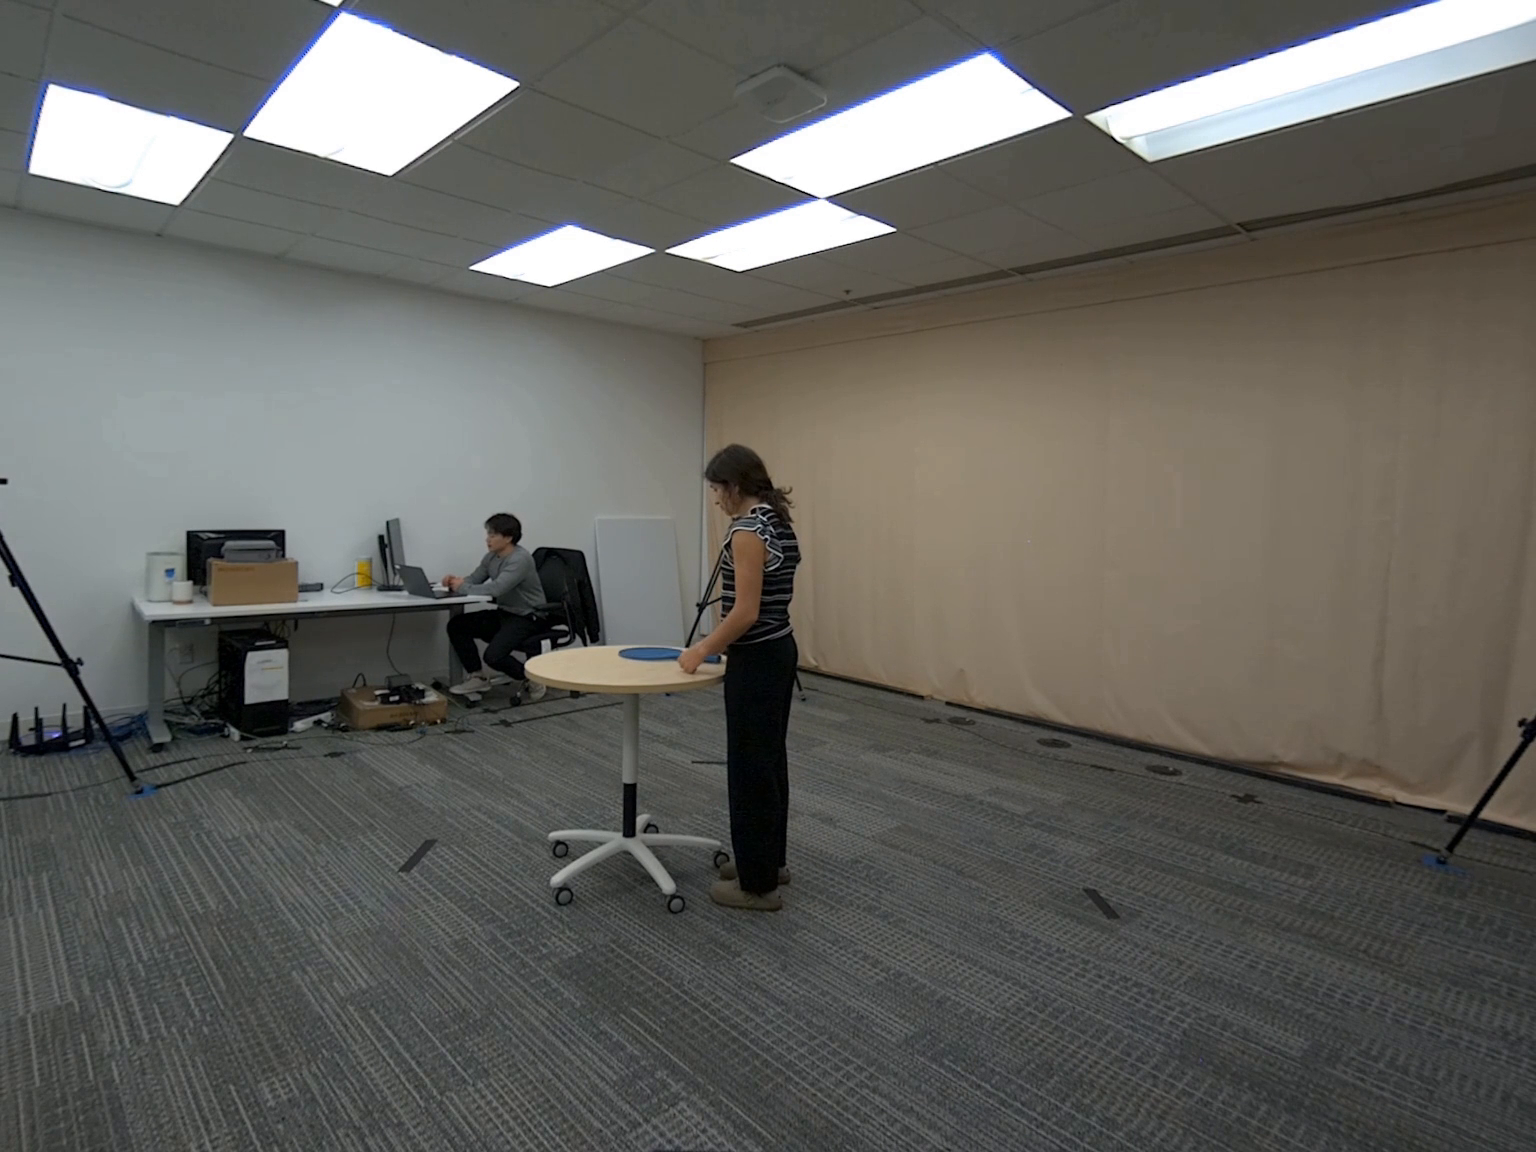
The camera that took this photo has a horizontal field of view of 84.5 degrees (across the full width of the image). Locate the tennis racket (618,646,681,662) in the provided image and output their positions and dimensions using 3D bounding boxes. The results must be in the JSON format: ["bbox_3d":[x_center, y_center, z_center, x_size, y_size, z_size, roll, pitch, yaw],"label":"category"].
[{"bbox_3d":[-0.384,0.301,3.181,0.442,0.031,0.210,3,7,28],"label":"tennis racket"}]
